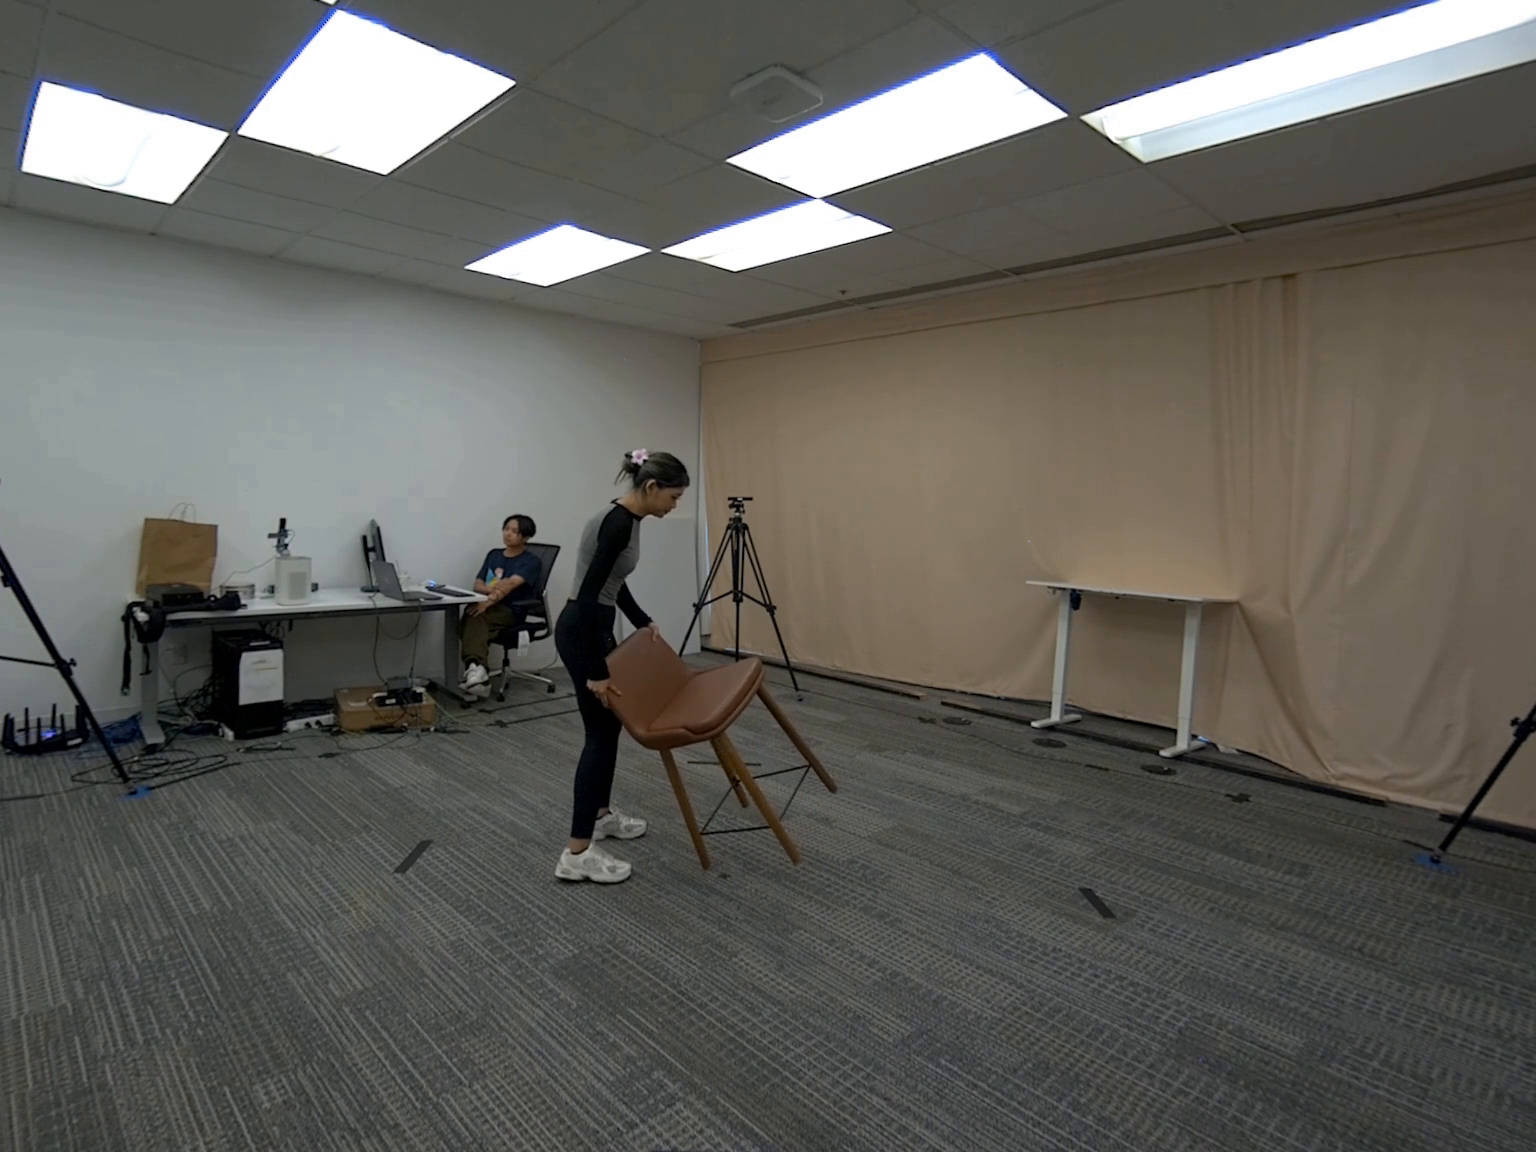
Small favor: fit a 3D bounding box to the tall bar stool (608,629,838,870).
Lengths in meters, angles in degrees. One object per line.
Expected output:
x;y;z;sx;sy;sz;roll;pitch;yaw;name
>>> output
-0.196;0.595;3.101;0.474;0.880;0.455;-21;13;35;tall bar stool
